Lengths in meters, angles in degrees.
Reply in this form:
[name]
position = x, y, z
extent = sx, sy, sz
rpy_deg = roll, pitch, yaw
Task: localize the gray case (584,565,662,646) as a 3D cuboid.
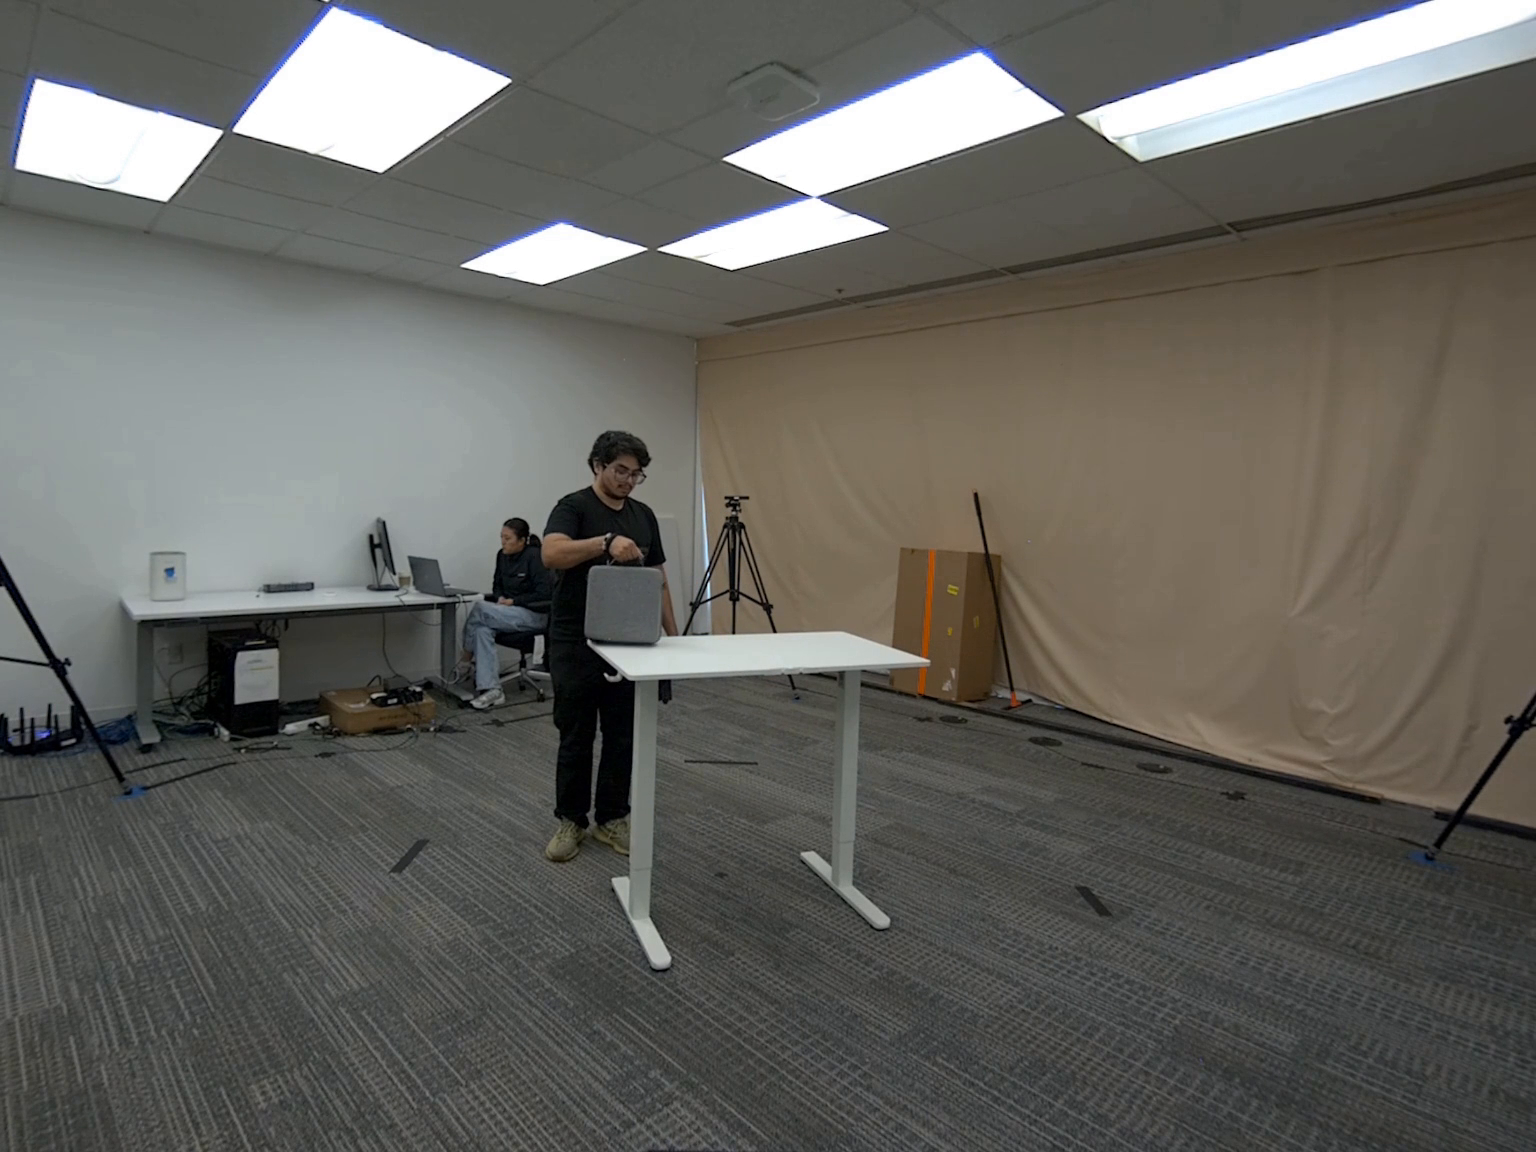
[gray case]
position = -0.498, 0.091, 2.845
extent = 0.257, 0.261, 0.104
rpy_deg = 2, -5, -1
